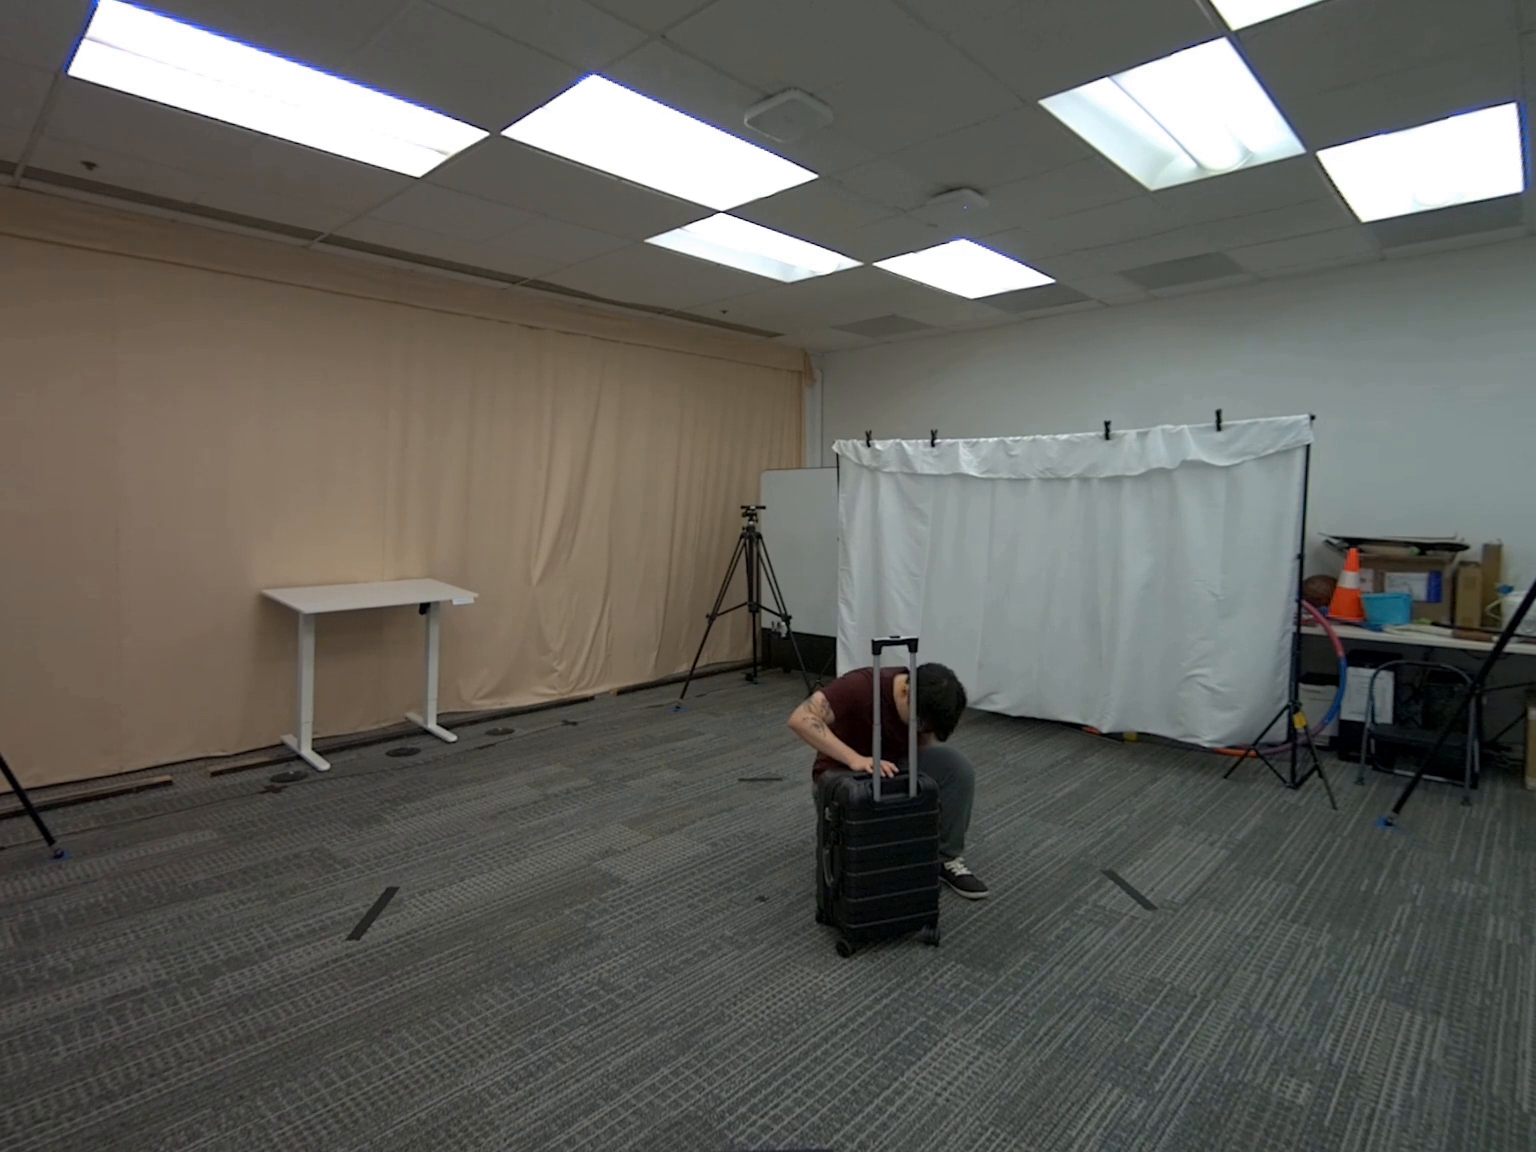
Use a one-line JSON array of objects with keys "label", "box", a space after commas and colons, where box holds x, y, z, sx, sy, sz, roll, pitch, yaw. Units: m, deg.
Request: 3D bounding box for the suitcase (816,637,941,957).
[{"label": "suitcase", "box": [0.353, 0.686, 2.718, 0.377, 0.977, 0.262, 0, 2, -17]}]
